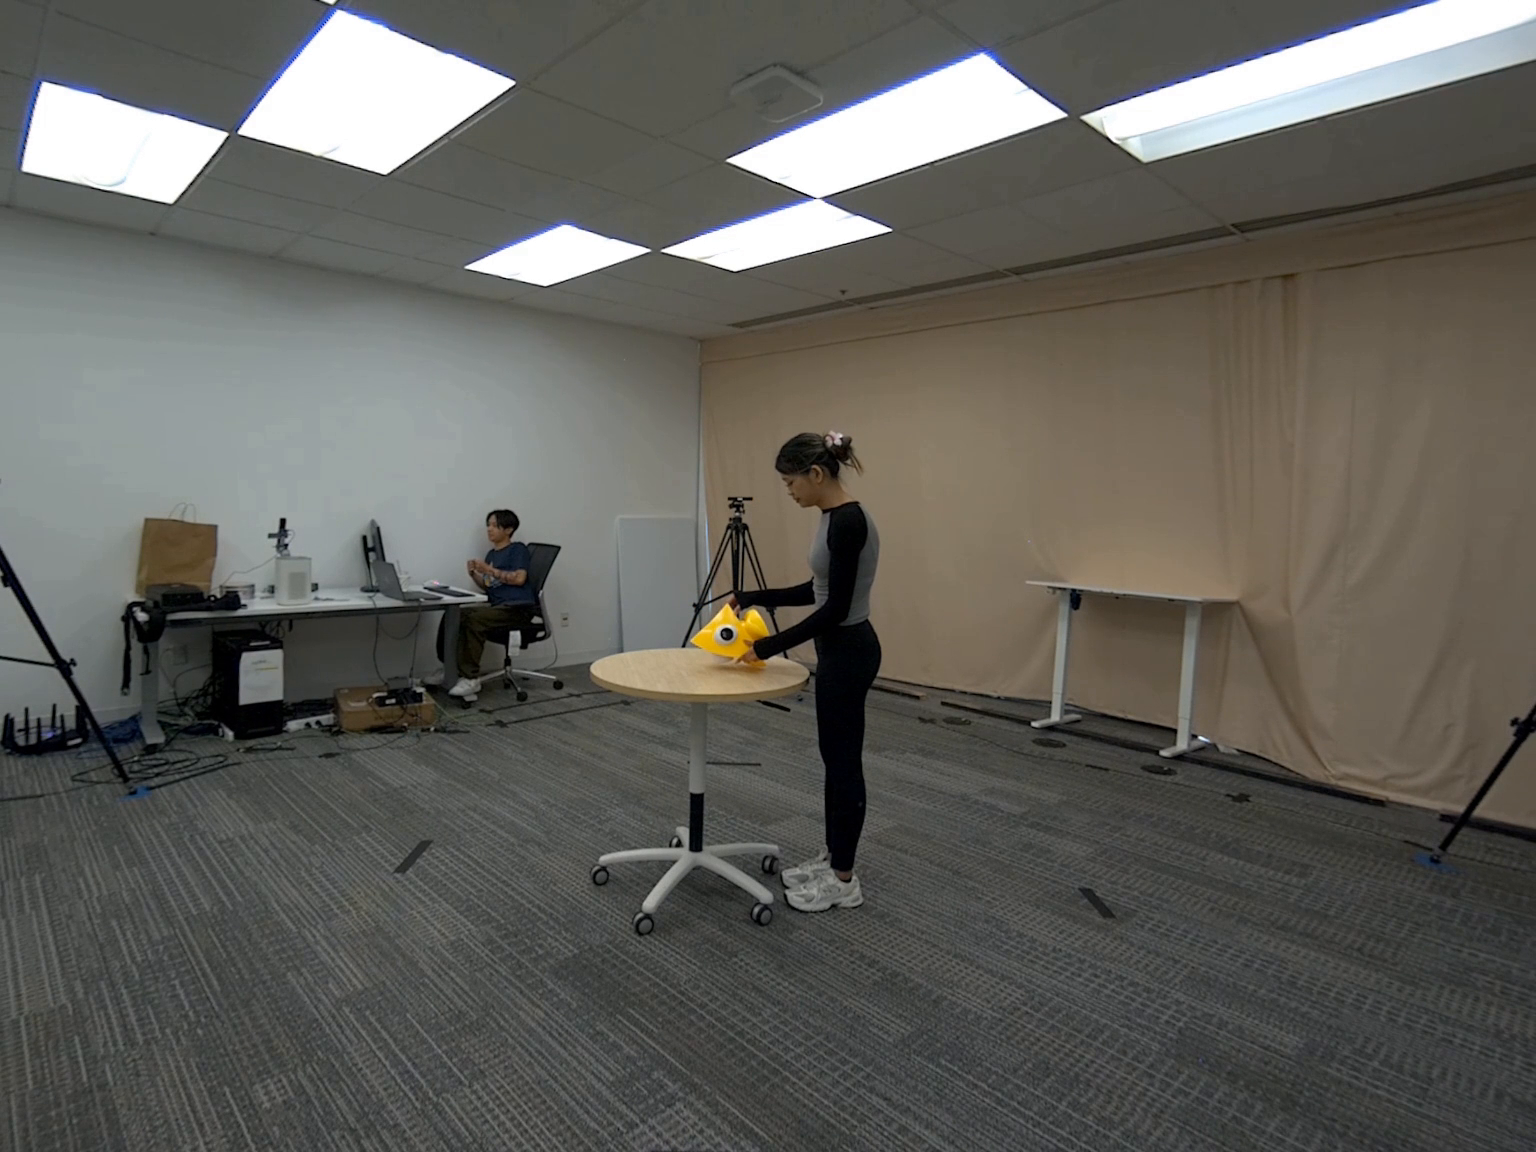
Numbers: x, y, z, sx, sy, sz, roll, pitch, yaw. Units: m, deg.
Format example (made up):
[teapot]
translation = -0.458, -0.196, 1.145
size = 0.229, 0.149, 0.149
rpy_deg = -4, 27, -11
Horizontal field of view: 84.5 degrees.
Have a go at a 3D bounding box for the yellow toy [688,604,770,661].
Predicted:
[yellow toy]
translation = -0.142, 0.239, 2.939
size = 0.227, 0.201, 0.199
rpy_deg = -14, 43, -25
